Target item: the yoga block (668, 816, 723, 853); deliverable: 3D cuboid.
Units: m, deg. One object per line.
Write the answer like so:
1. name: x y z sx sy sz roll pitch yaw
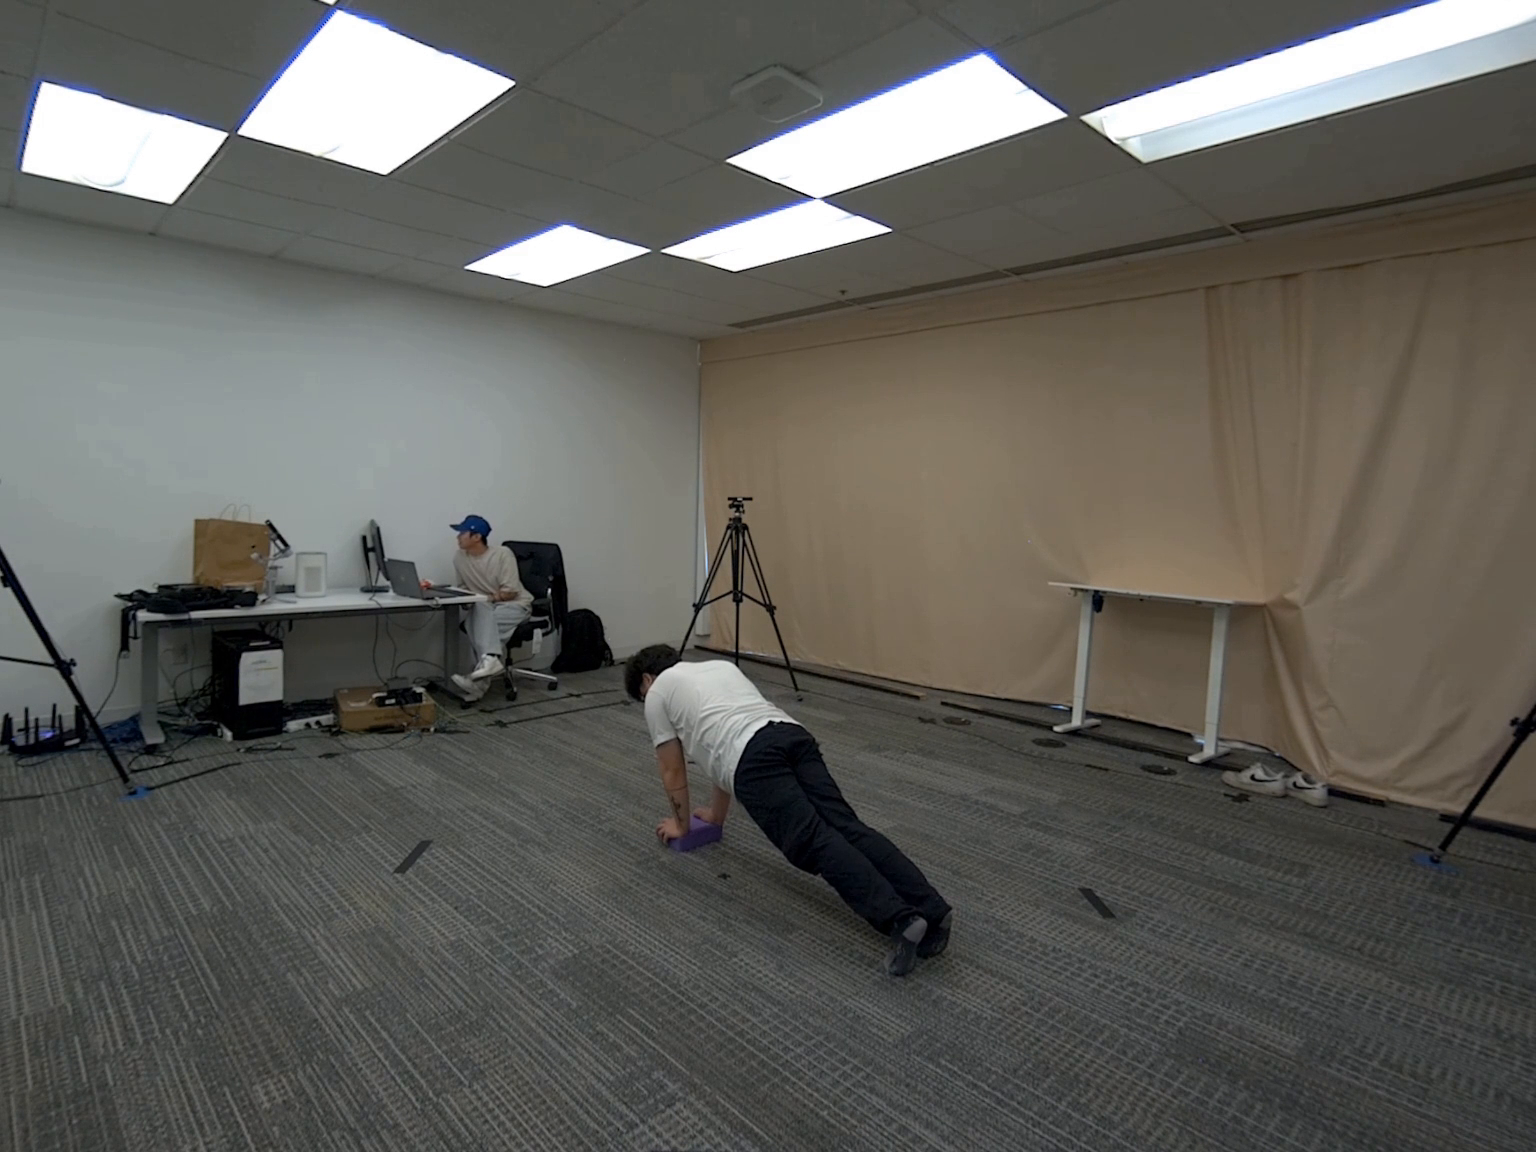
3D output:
1. yoga block: -0.323 1.042 3.425 0.153 0.076 0.224 5 6 45
